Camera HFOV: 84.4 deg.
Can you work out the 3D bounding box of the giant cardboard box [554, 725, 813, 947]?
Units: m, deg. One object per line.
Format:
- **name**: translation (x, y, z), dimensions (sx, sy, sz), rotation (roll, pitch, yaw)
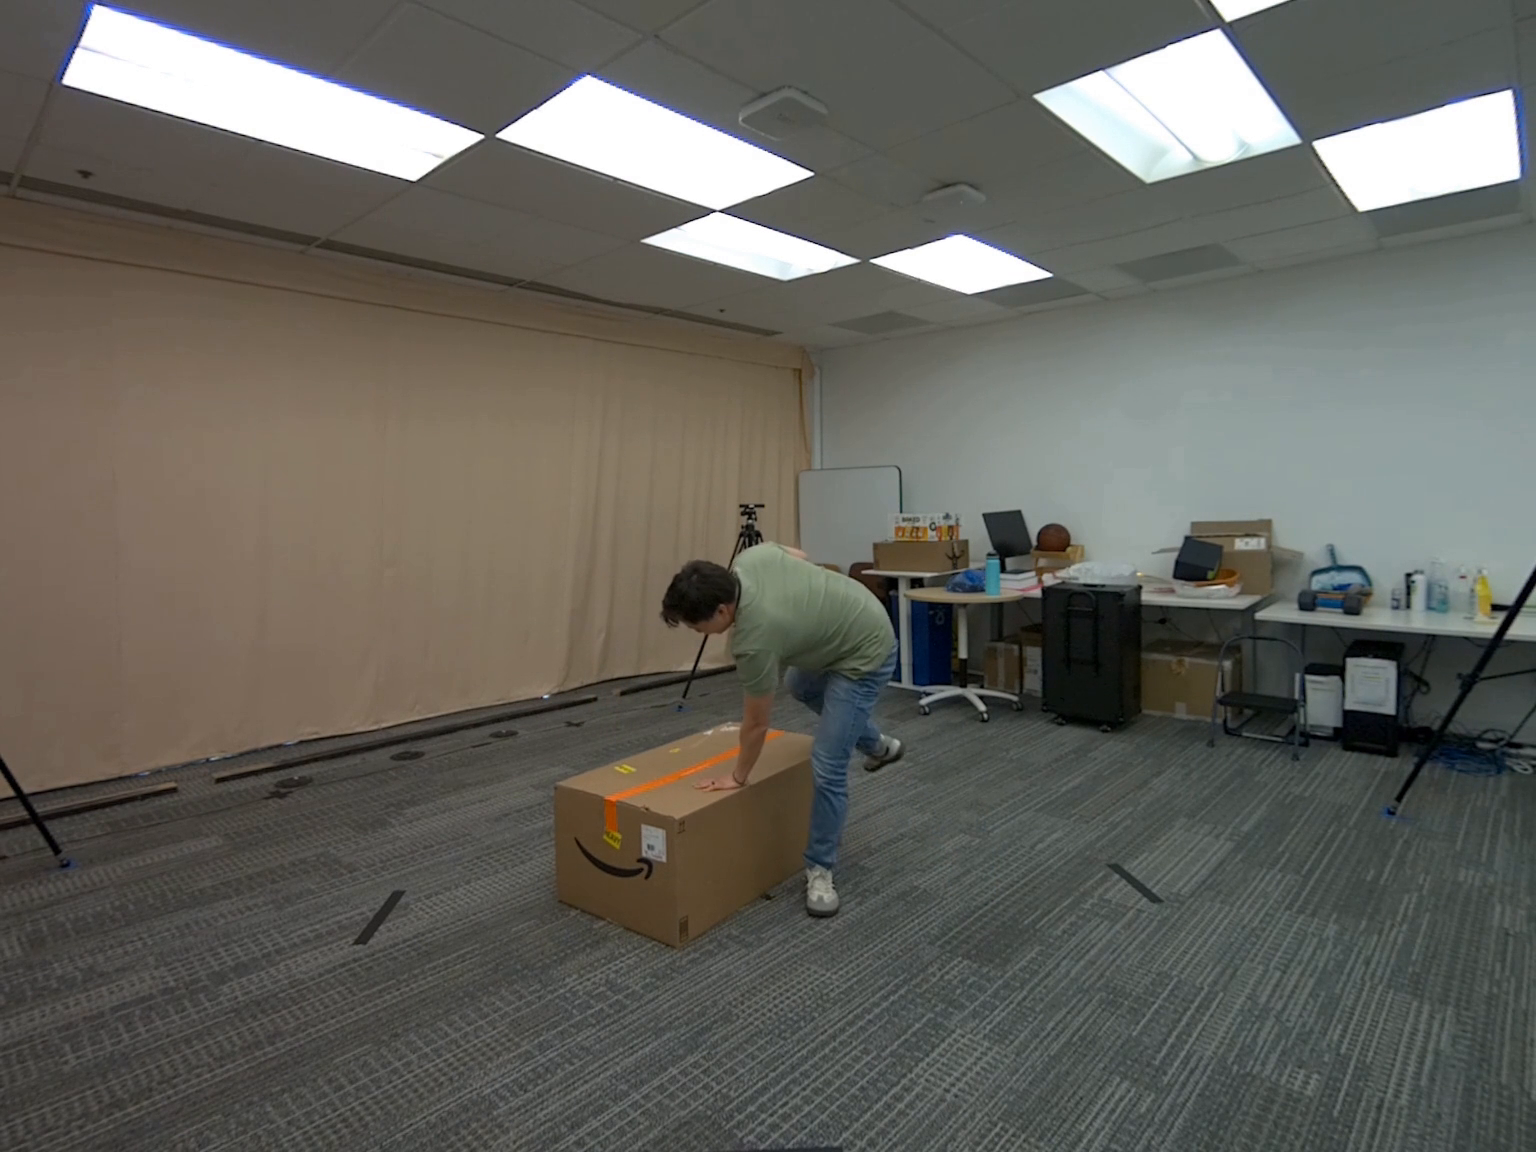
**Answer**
- **giant cardboard box**: translation (-0.226, 0.914, 3.203), dimensions (0.596, 0.425, 0.996), rotation (2, 6, 36)
